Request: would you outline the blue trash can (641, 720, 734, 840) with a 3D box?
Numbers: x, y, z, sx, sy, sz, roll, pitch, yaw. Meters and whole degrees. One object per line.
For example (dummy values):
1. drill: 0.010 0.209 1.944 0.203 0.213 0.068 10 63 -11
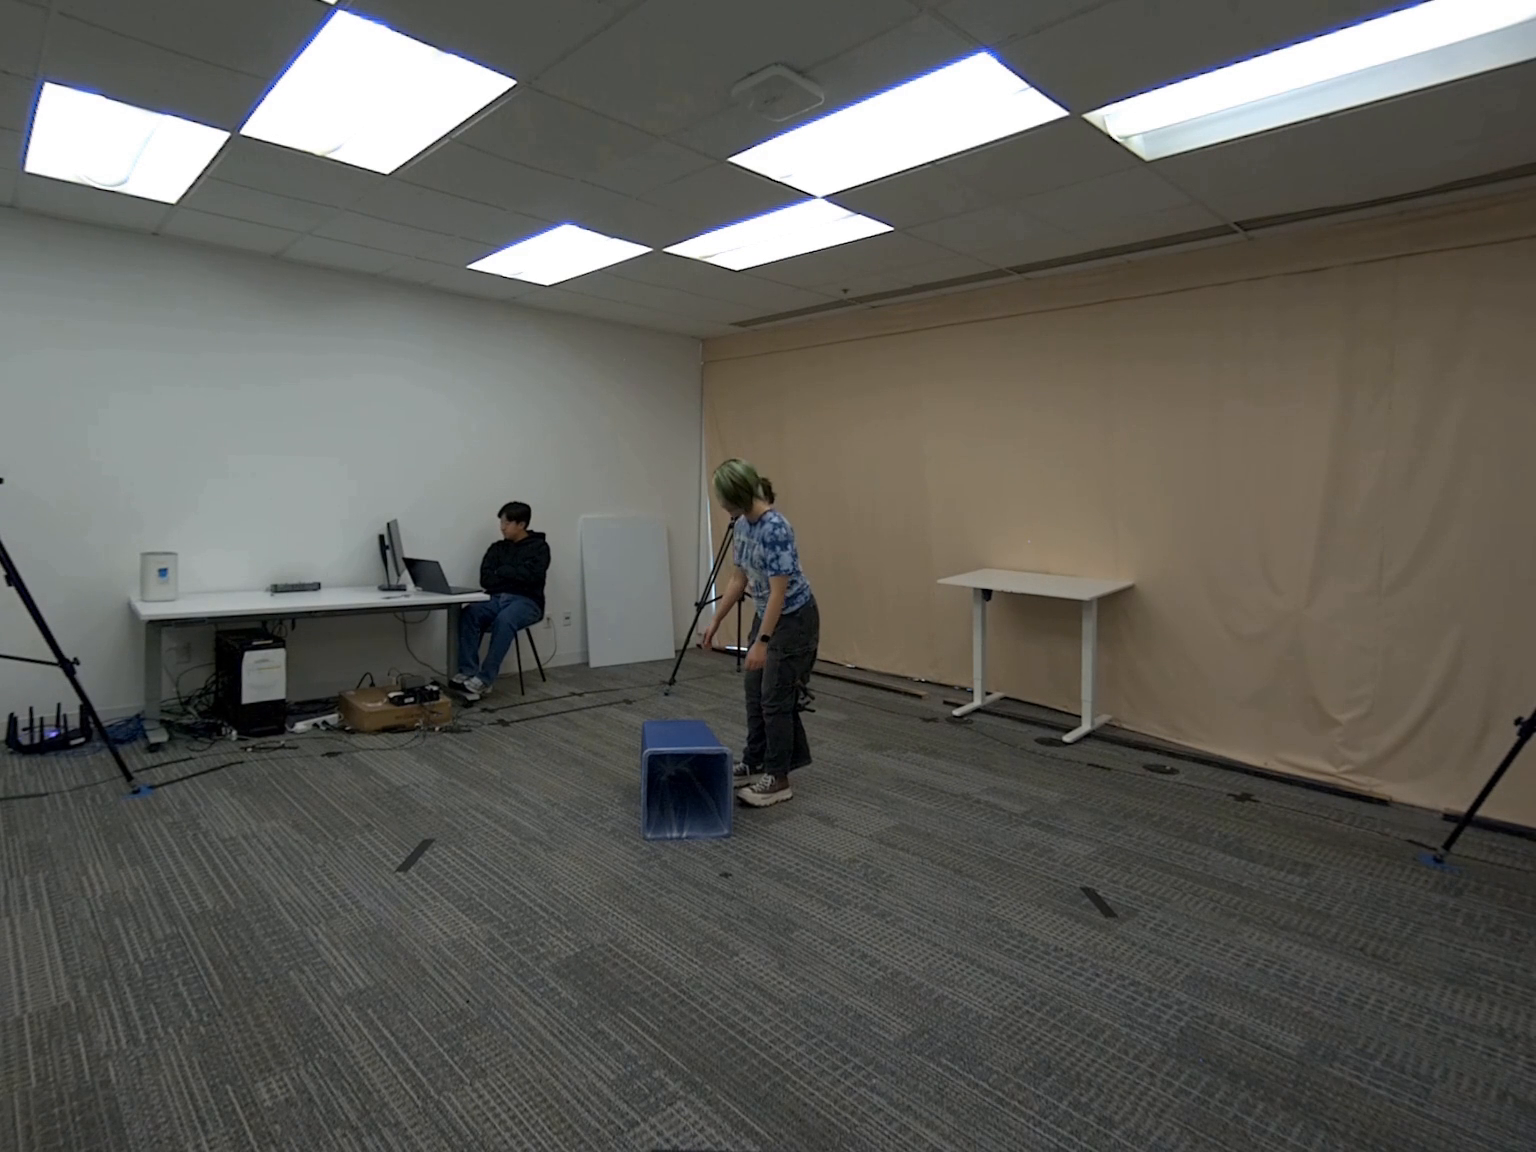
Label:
1. blue trash can: -0.405 0.863 3.767 0.375 0.373 0.720 1 3 -11
